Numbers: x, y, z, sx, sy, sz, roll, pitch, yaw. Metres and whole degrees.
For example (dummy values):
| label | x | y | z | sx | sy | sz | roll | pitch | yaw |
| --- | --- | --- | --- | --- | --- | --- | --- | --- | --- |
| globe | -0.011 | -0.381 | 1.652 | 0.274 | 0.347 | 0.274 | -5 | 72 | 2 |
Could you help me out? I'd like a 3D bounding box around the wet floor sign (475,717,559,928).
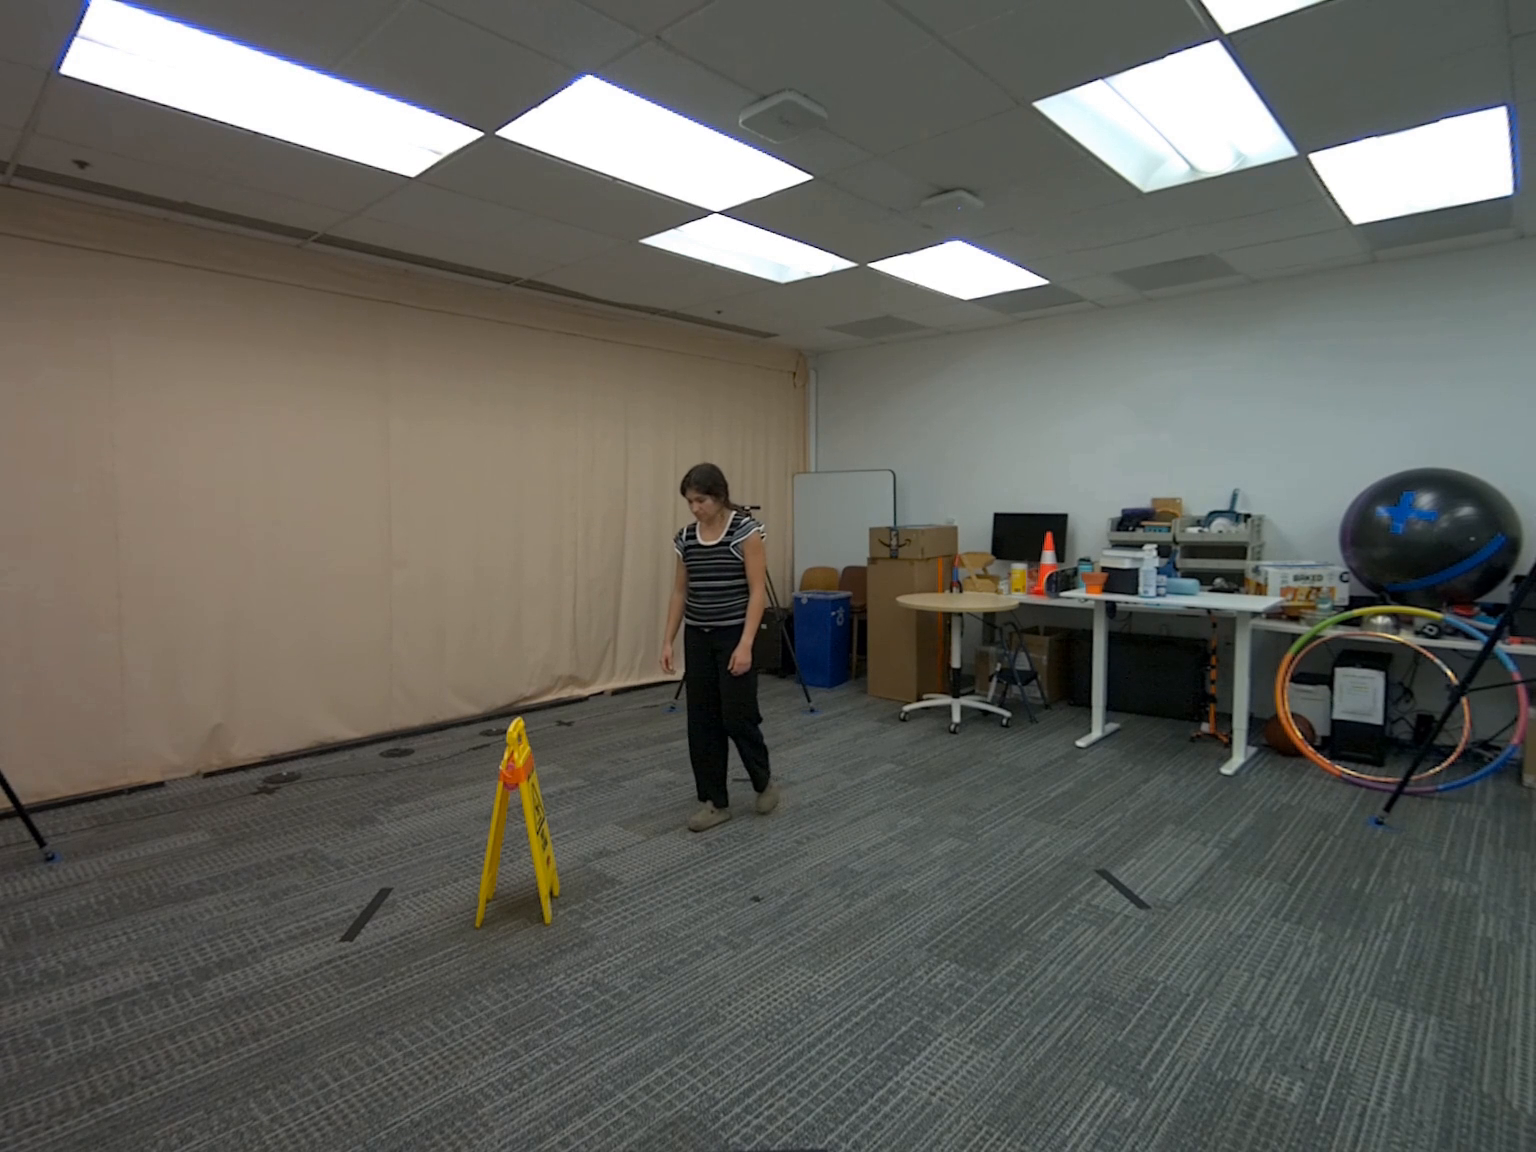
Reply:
| label | x | y | z | sx | sy | sz | roll | pitch | yaw |
| --- | --- | --- | --- | --- | --- | --- | --- | --- | --- |
| wet floor sign | -0.876 | 0.831 | 2.917 | 0.288 | 0.645 | 0.284 | 0 | 2 | -6 |
